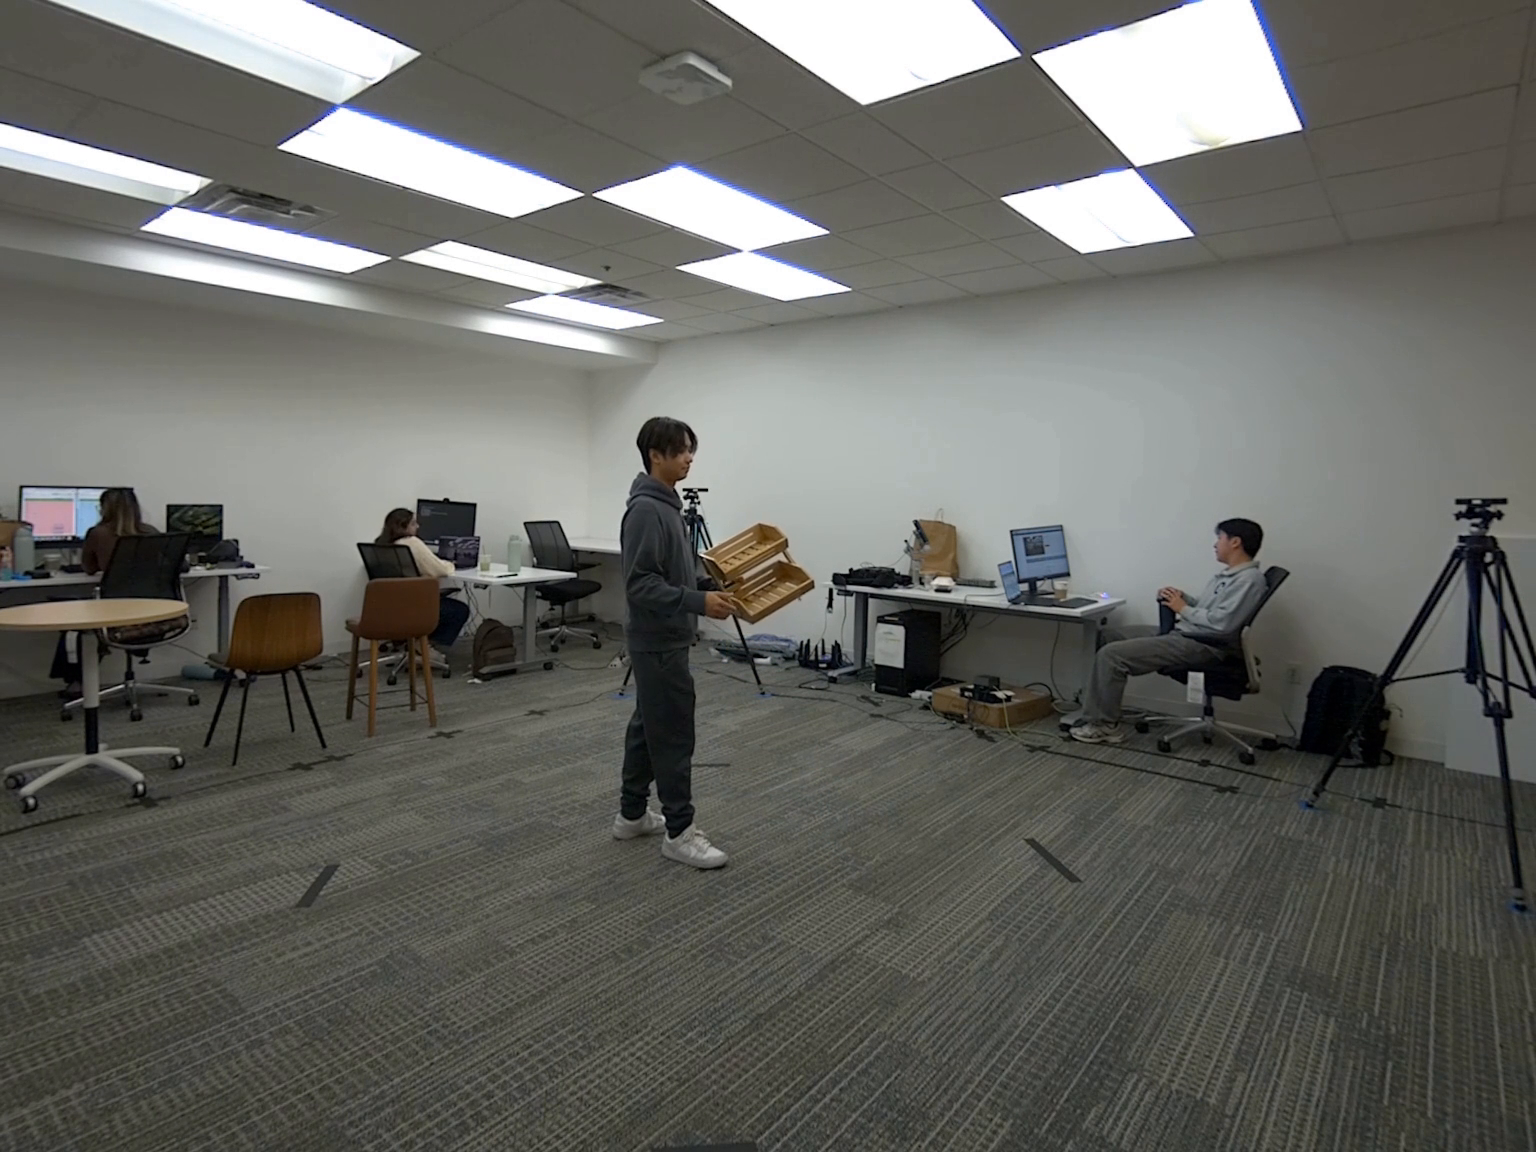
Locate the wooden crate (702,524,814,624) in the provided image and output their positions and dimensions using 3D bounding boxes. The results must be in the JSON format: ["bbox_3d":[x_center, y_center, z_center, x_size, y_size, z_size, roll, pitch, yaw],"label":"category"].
[{"bbox_3d":[-0.049,-0.021,3.391,0.321,0.267,0.312,-30,21,-21],"label":"wooden crate"}]
